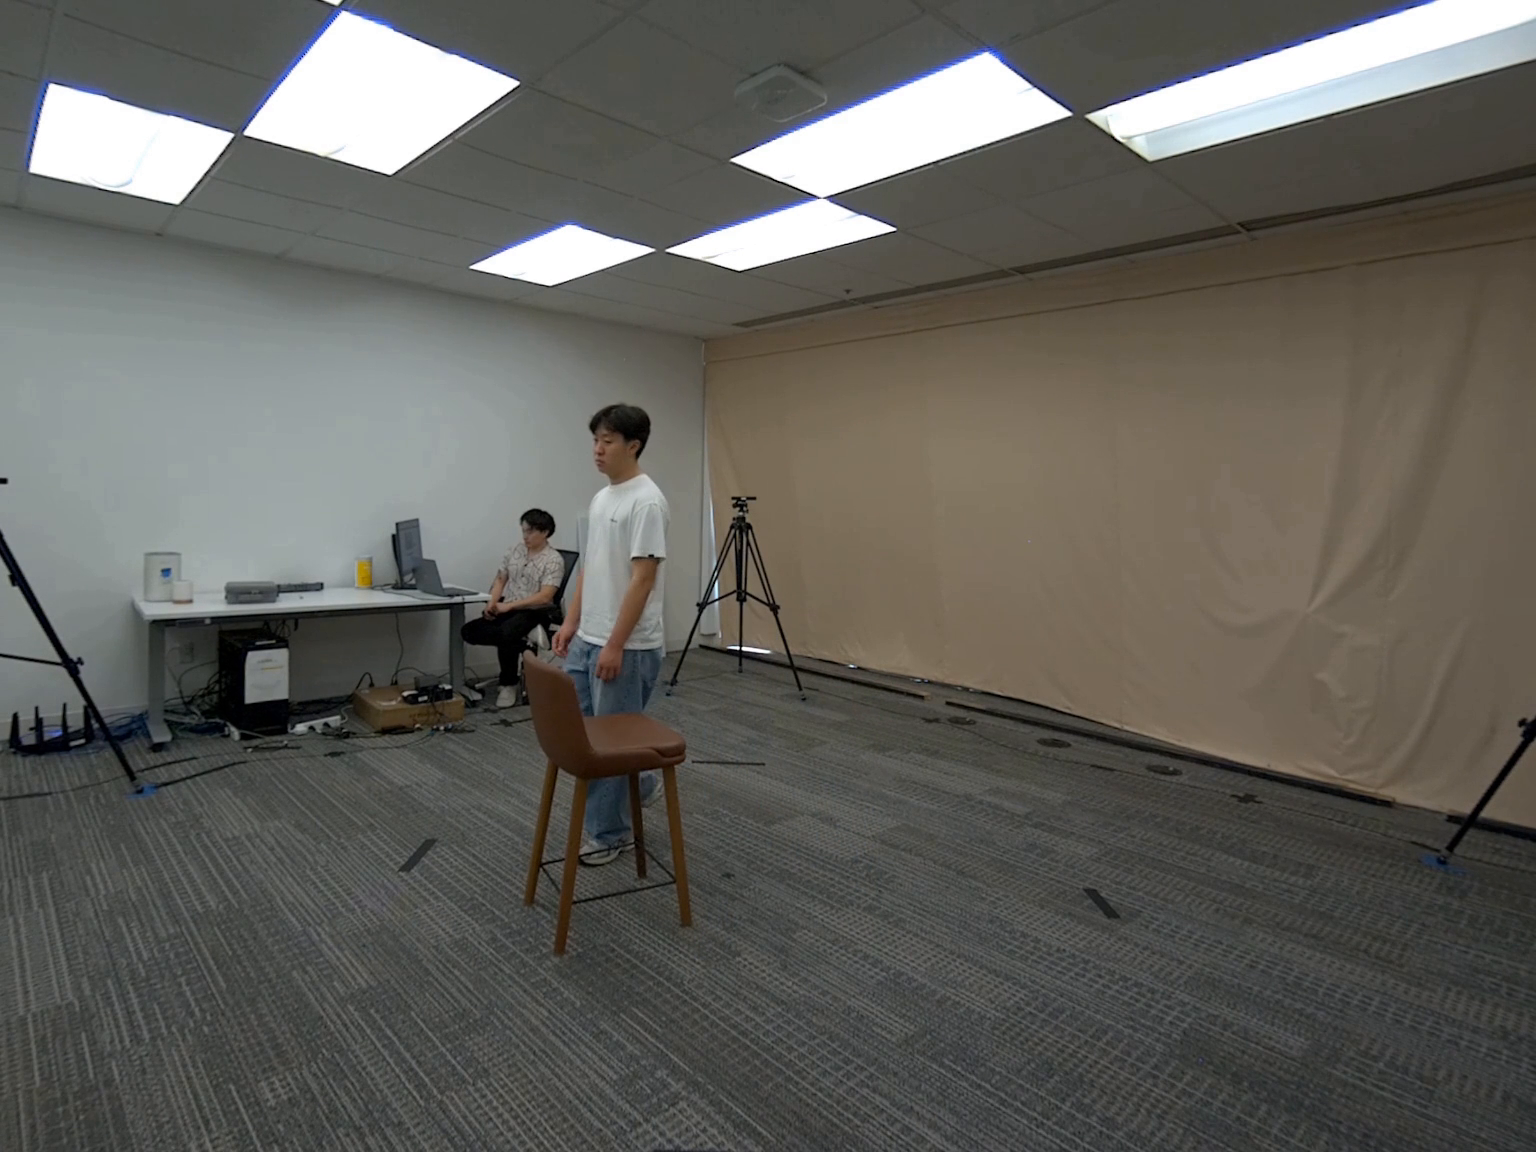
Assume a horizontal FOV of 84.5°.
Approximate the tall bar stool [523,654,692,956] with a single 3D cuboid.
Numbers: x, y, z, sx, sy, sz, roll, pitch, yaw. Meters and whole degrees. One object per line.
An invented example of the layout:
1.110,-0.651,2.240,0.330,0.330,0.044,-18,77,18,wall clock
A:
-0.540,0.692,2.773,0.458,0.887,0.467,-3,5,-30,tall bar stool
